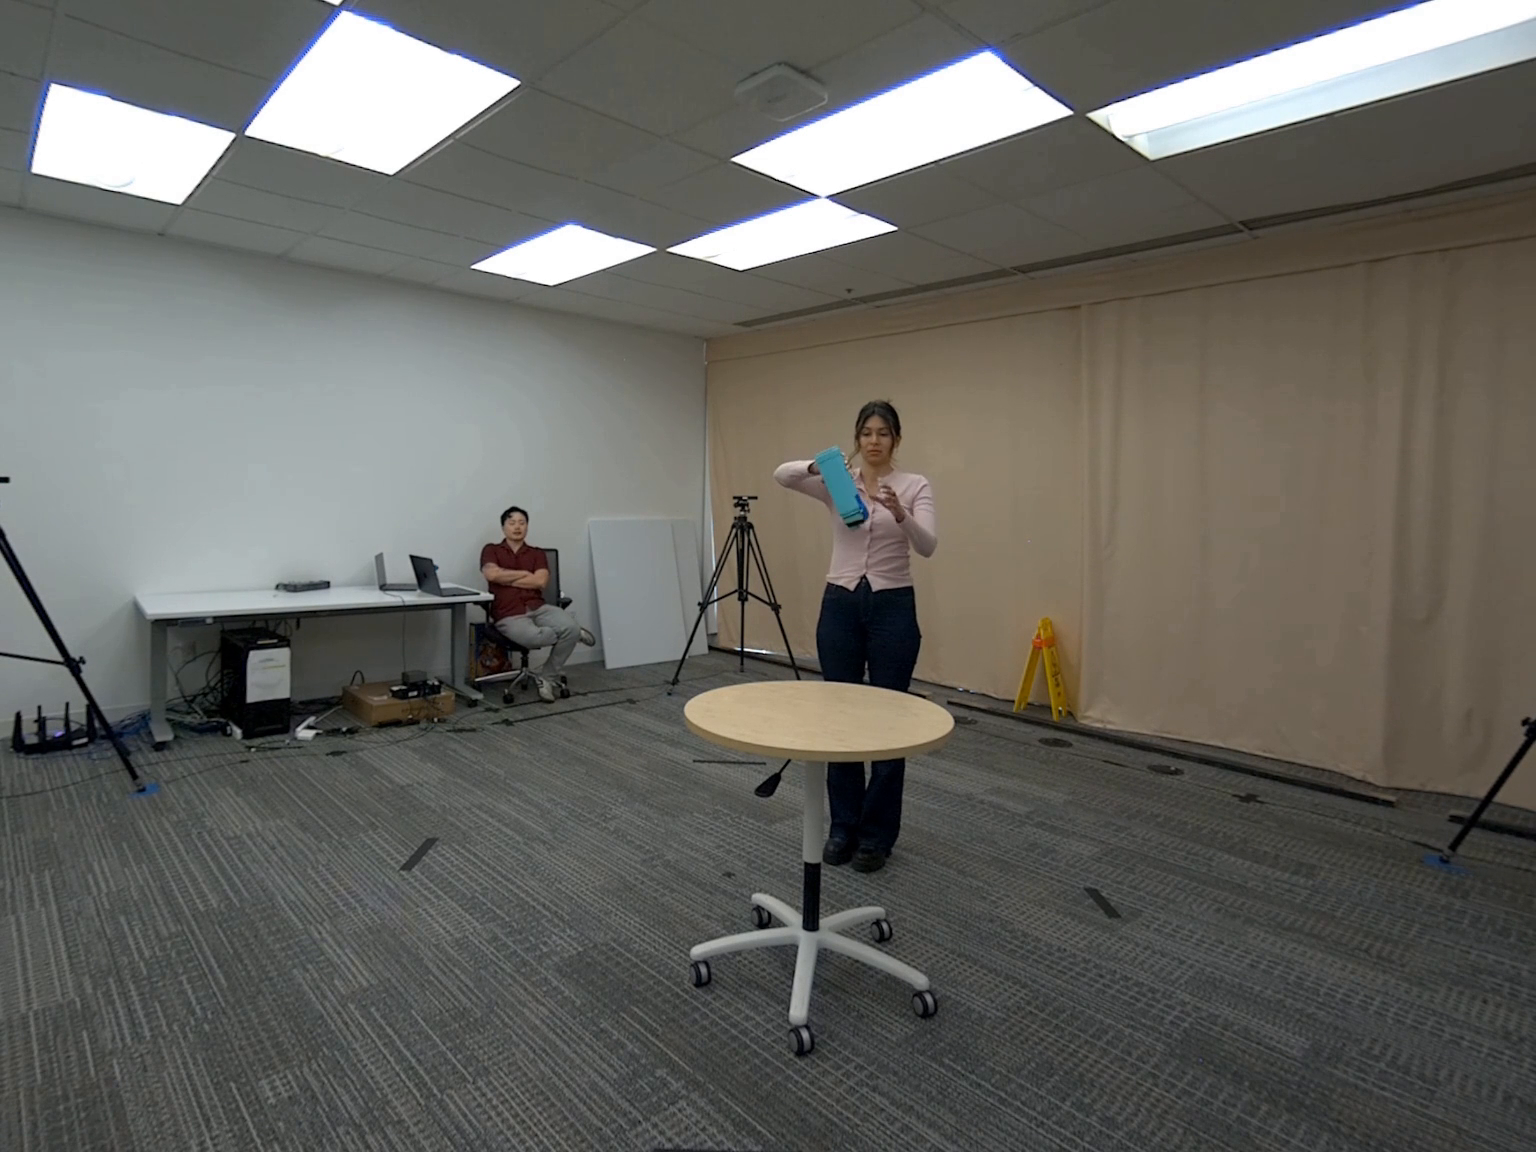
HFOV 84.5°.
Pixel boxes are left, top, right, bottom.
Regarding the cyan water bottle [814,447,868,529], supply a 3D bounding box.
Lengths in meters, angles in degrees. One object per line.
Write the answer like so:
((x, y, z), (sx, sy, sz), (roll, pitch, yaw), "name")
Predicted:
((0.245, -0.289, 2.817), (0.092, 0.283, 0.092), (-23, 0, -1), "cyan water bottle")
